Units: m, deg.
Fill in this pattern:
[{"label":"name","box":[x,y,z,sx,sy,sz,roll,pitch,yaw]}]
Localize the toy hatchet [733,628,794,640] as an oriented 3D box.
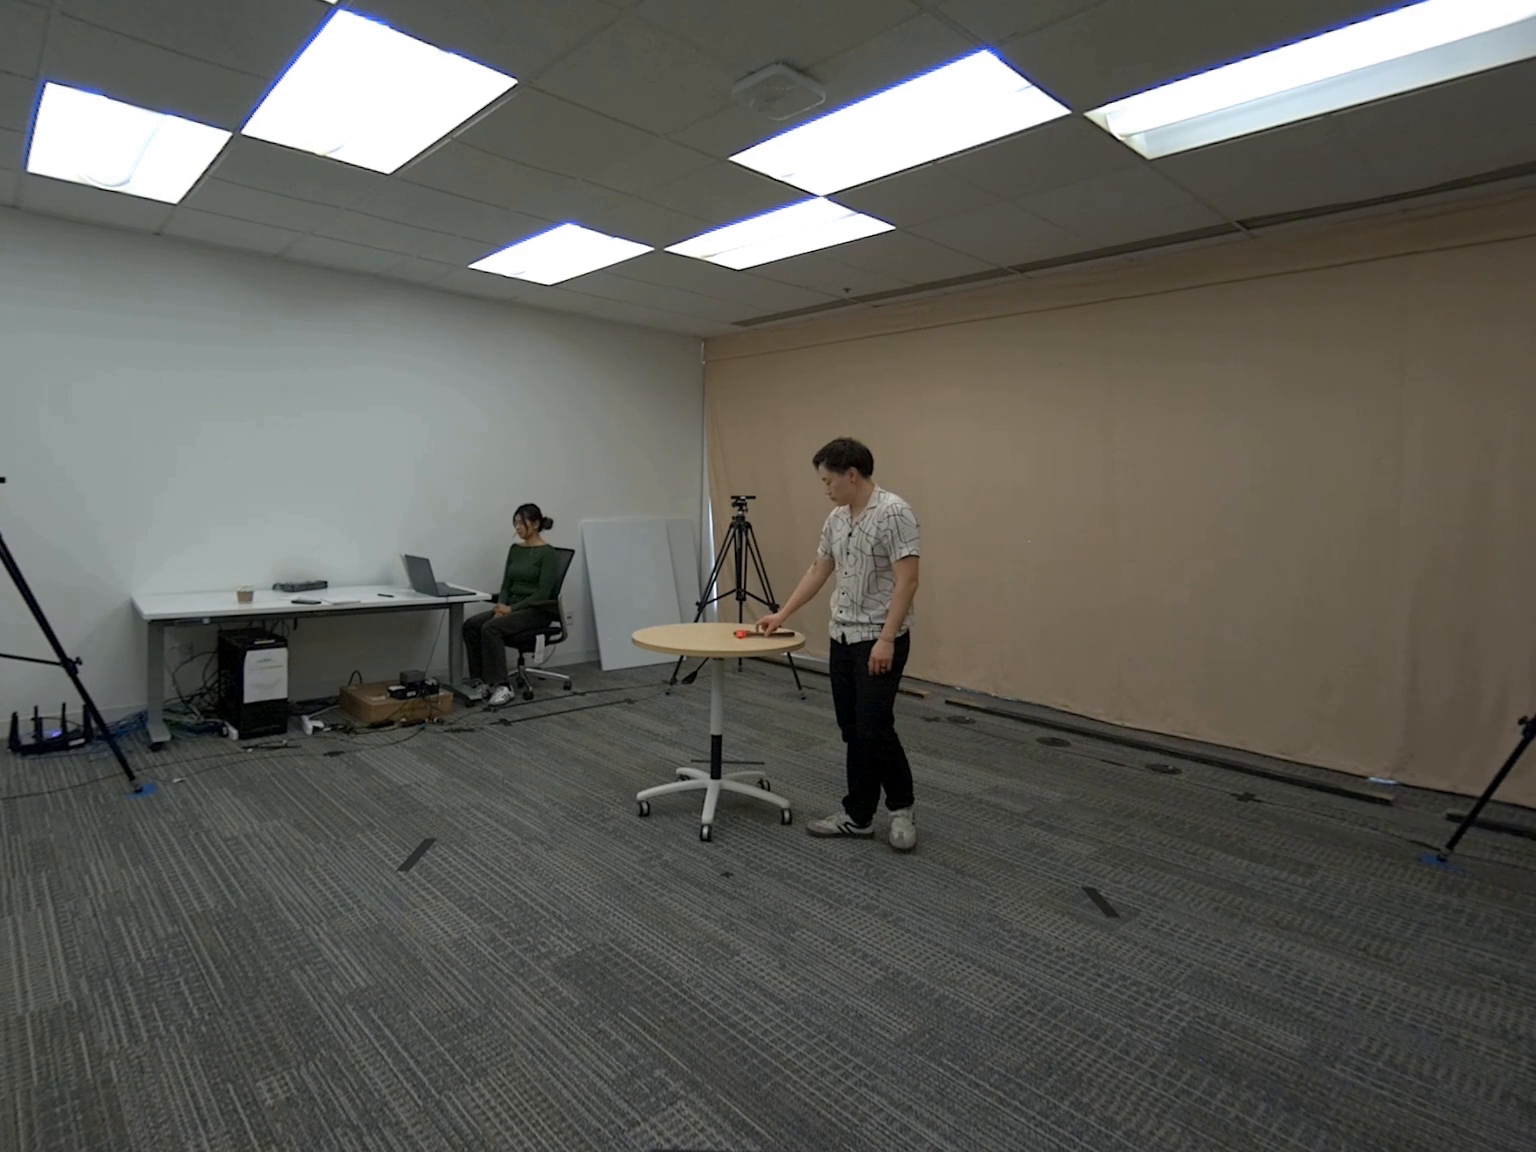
[{"label":"toy hatchet","box":[-0.026,0.252,3.725,0.266,0.029,0.133,-1,2,-19]}]
